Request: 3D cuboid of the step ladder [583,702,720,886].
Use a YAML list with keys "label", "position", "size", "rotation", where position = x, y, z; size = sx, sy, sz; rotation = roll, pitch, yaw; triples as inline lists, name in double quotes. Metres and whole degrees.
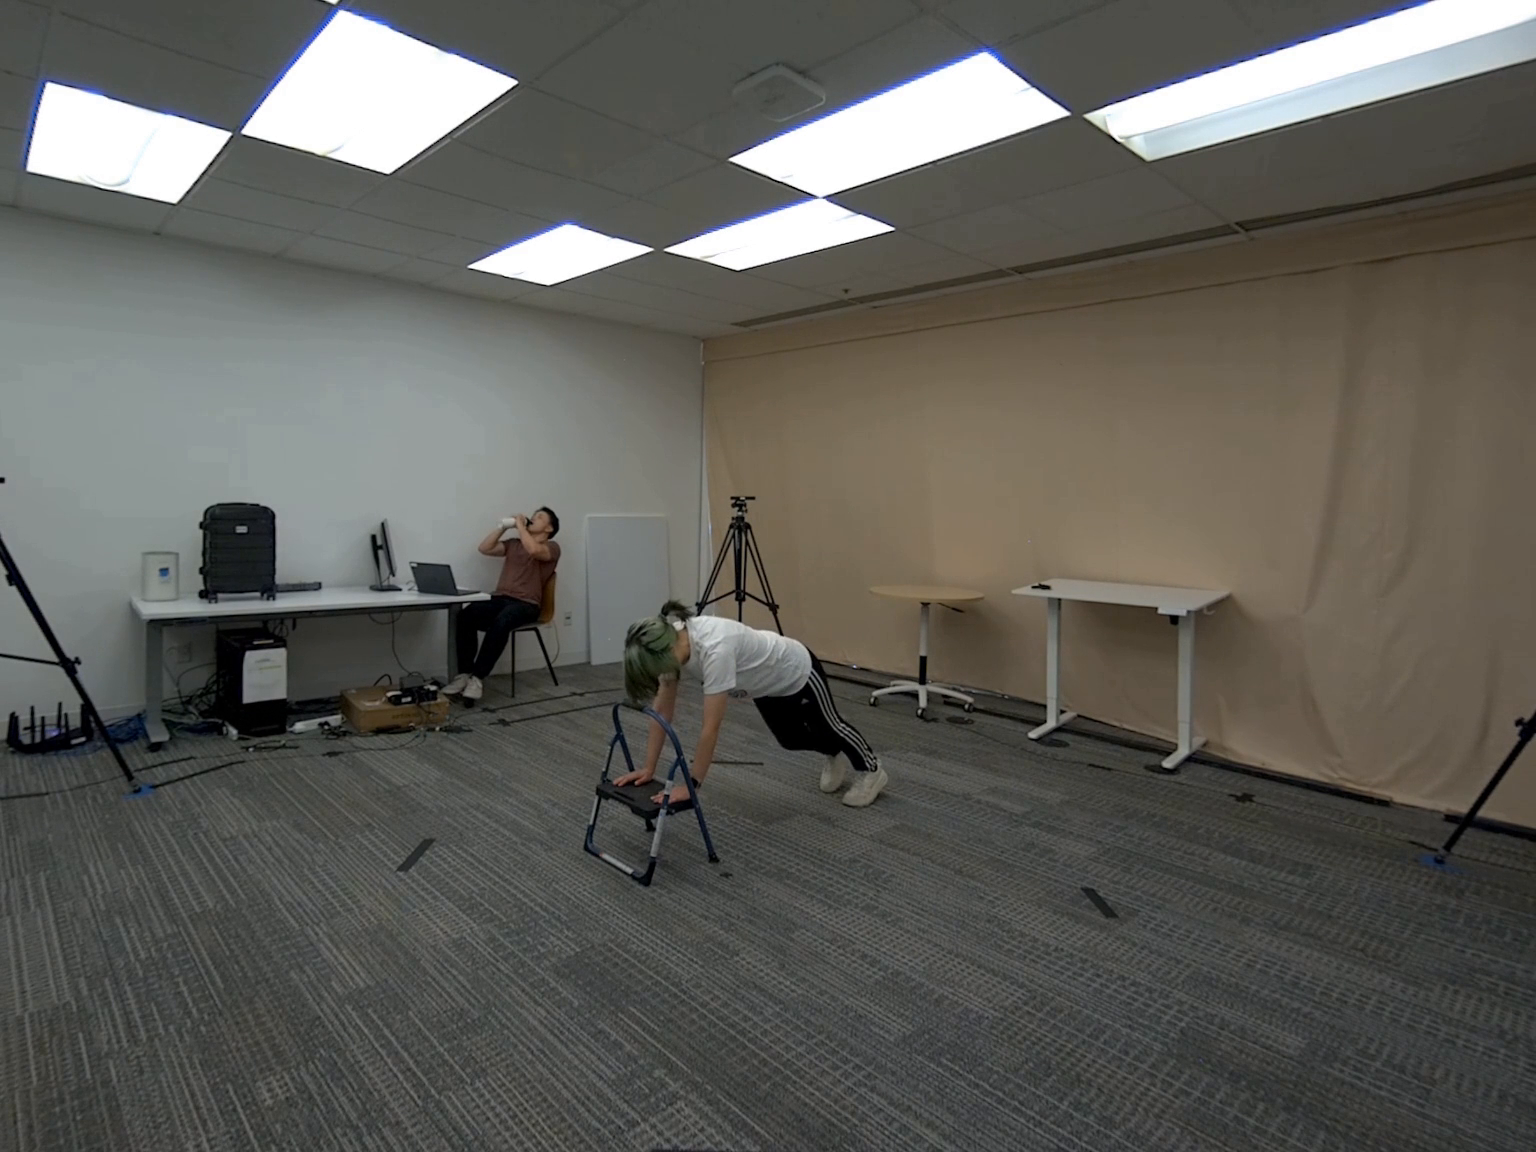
- label: "step ladder"
  position: [-0.456, 0.782, 3.243]
  size: [0.341, 0.605, 0.441]
  rotation: [-1, 4, -44]
